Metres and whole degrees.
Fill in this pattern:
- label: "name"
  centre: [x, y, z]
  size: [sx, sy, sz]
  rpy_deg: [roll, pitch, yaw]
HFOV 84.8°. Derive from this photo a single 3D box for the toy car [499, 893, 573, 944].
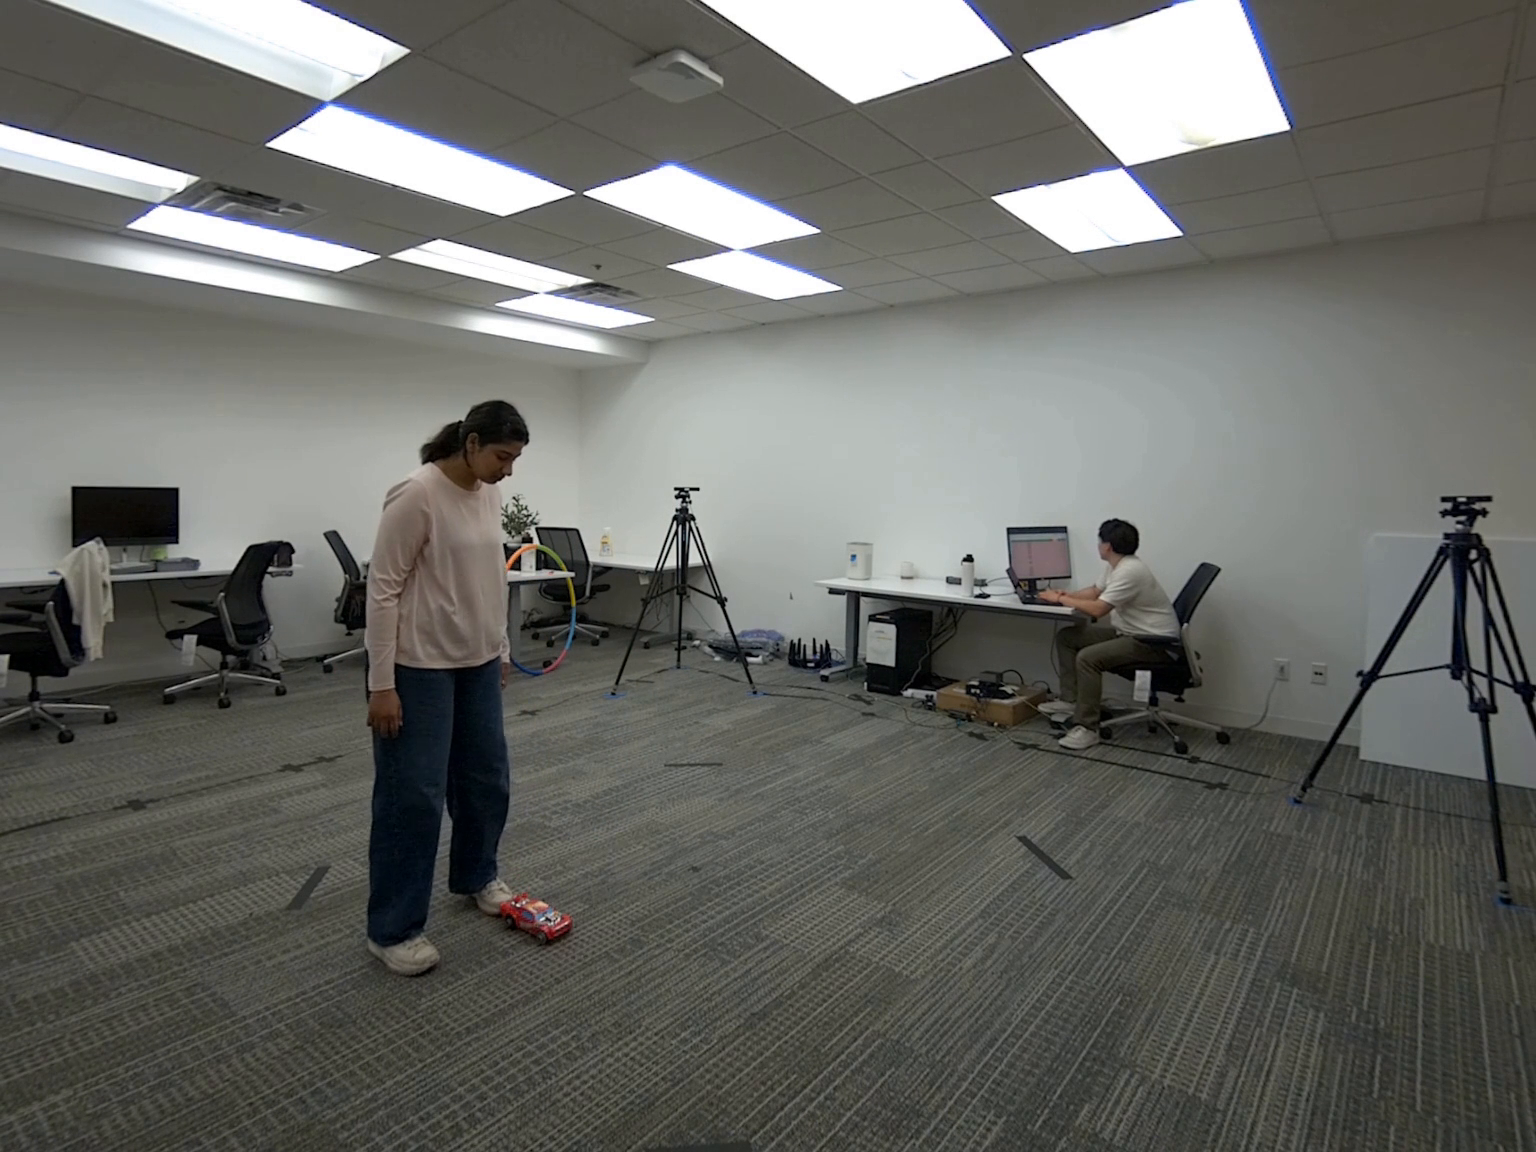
- label: "toy car"
  centre: [-0.745, 1.071, 2.666]
  size: [0.264, 0.082, 0.127]
  rpy_deg: [17, 14, 34]
